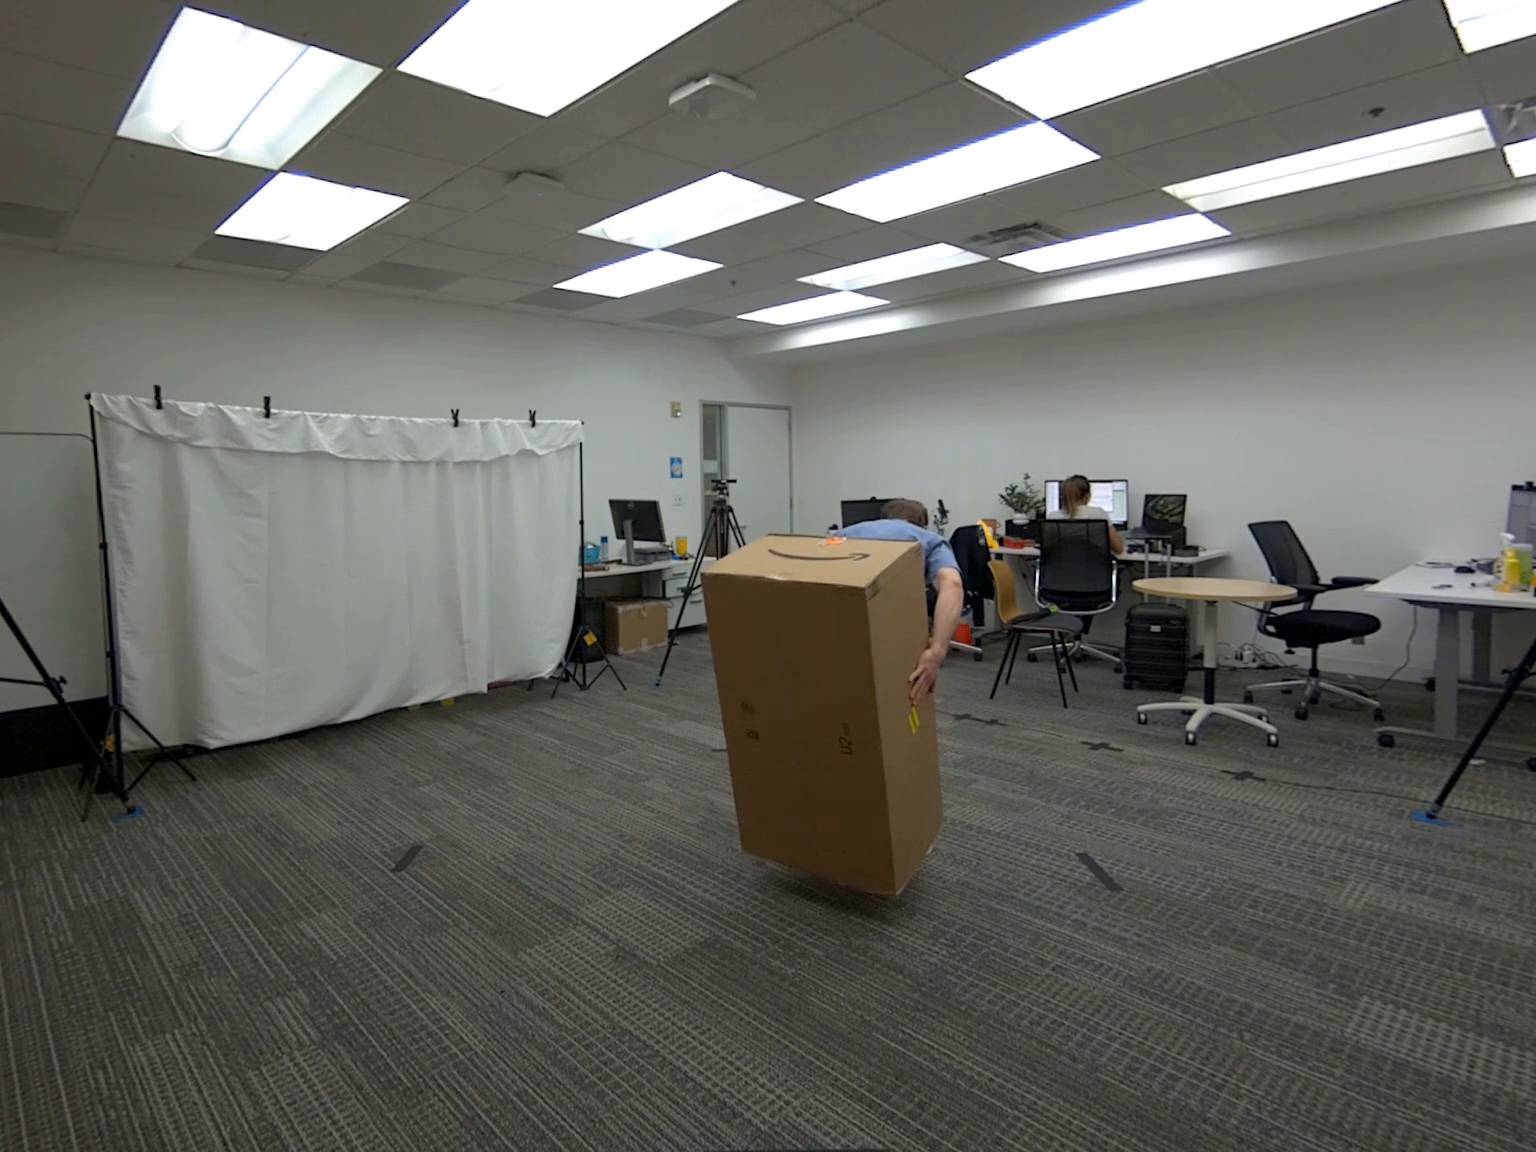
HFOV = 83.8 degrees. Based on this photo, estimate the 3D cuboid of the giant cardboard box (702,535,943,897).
[{"bbox_3d":[0.194,0.420,2.798,0.600,1.011,0.441,3,19,33],"label":"giant cardboard box"}]
